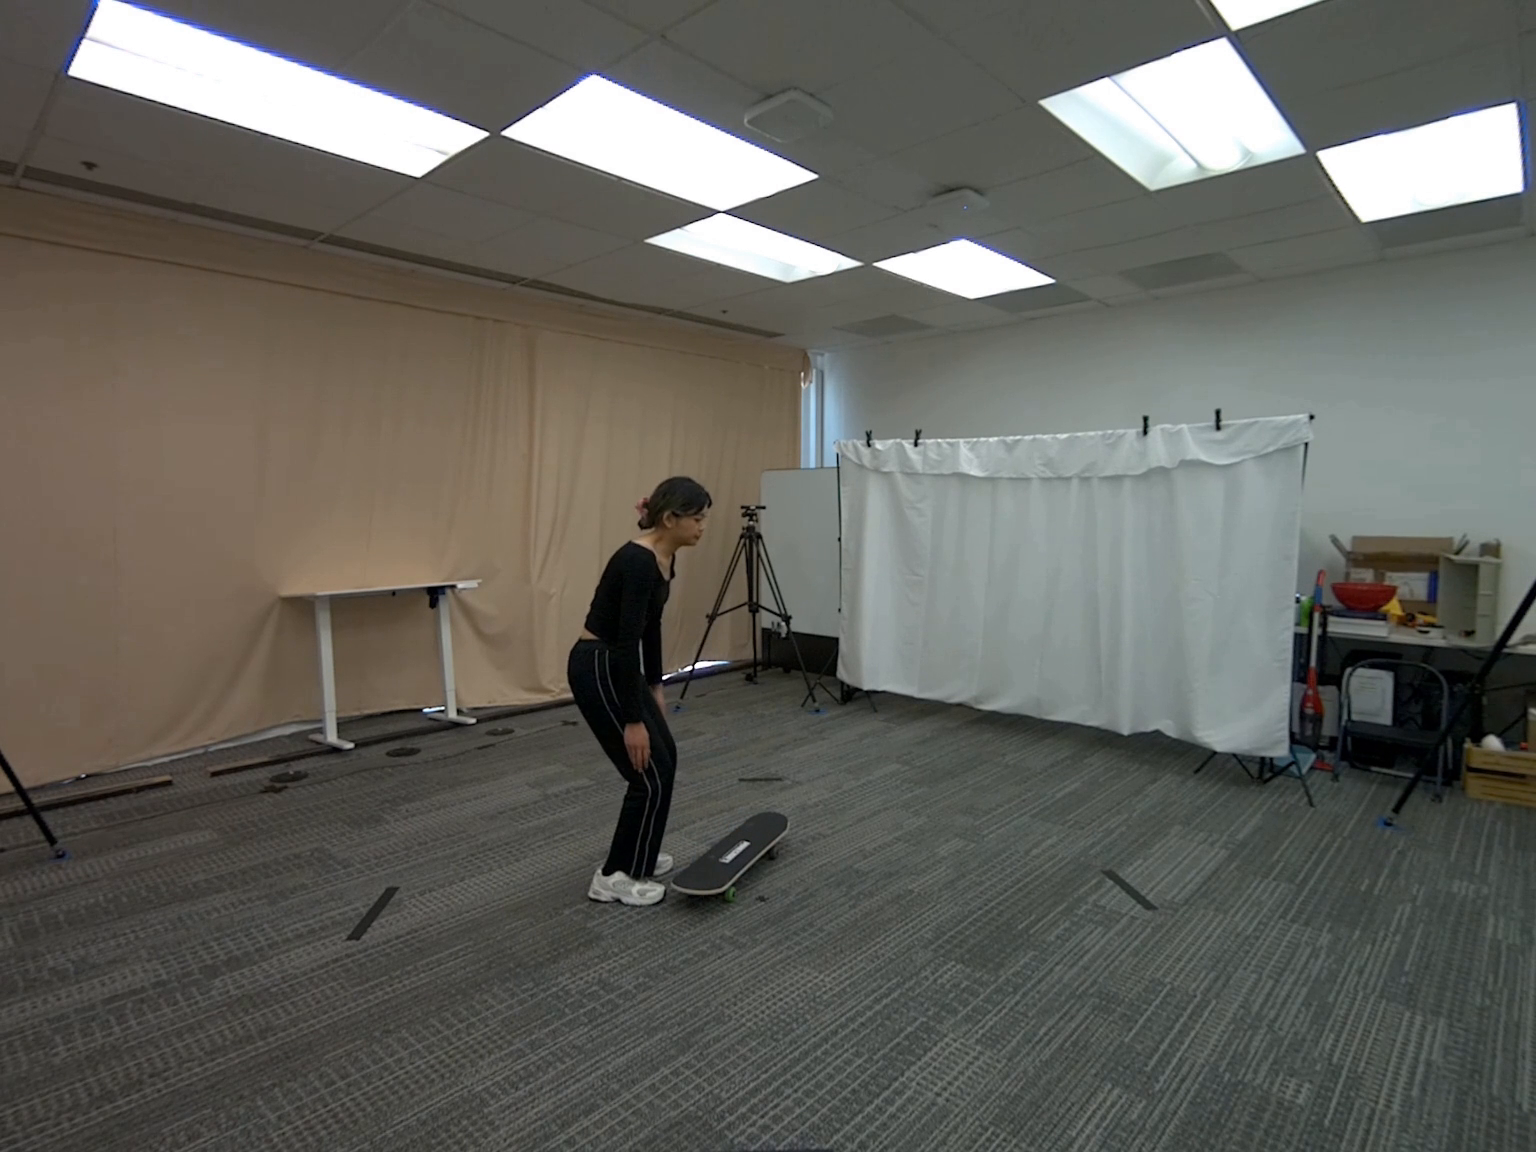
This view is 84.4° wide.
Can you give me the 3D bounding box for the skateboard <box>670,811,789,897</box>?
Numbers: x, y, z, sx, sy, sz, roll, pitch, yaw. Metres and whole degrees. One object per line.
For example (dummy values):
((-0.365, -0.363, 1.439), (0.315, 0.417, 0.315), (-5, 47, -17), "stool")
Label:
((-0.124, 1.069, 3.172), (0.198, 0.110, 0.768), (1, 5, 24), "skateboard")
